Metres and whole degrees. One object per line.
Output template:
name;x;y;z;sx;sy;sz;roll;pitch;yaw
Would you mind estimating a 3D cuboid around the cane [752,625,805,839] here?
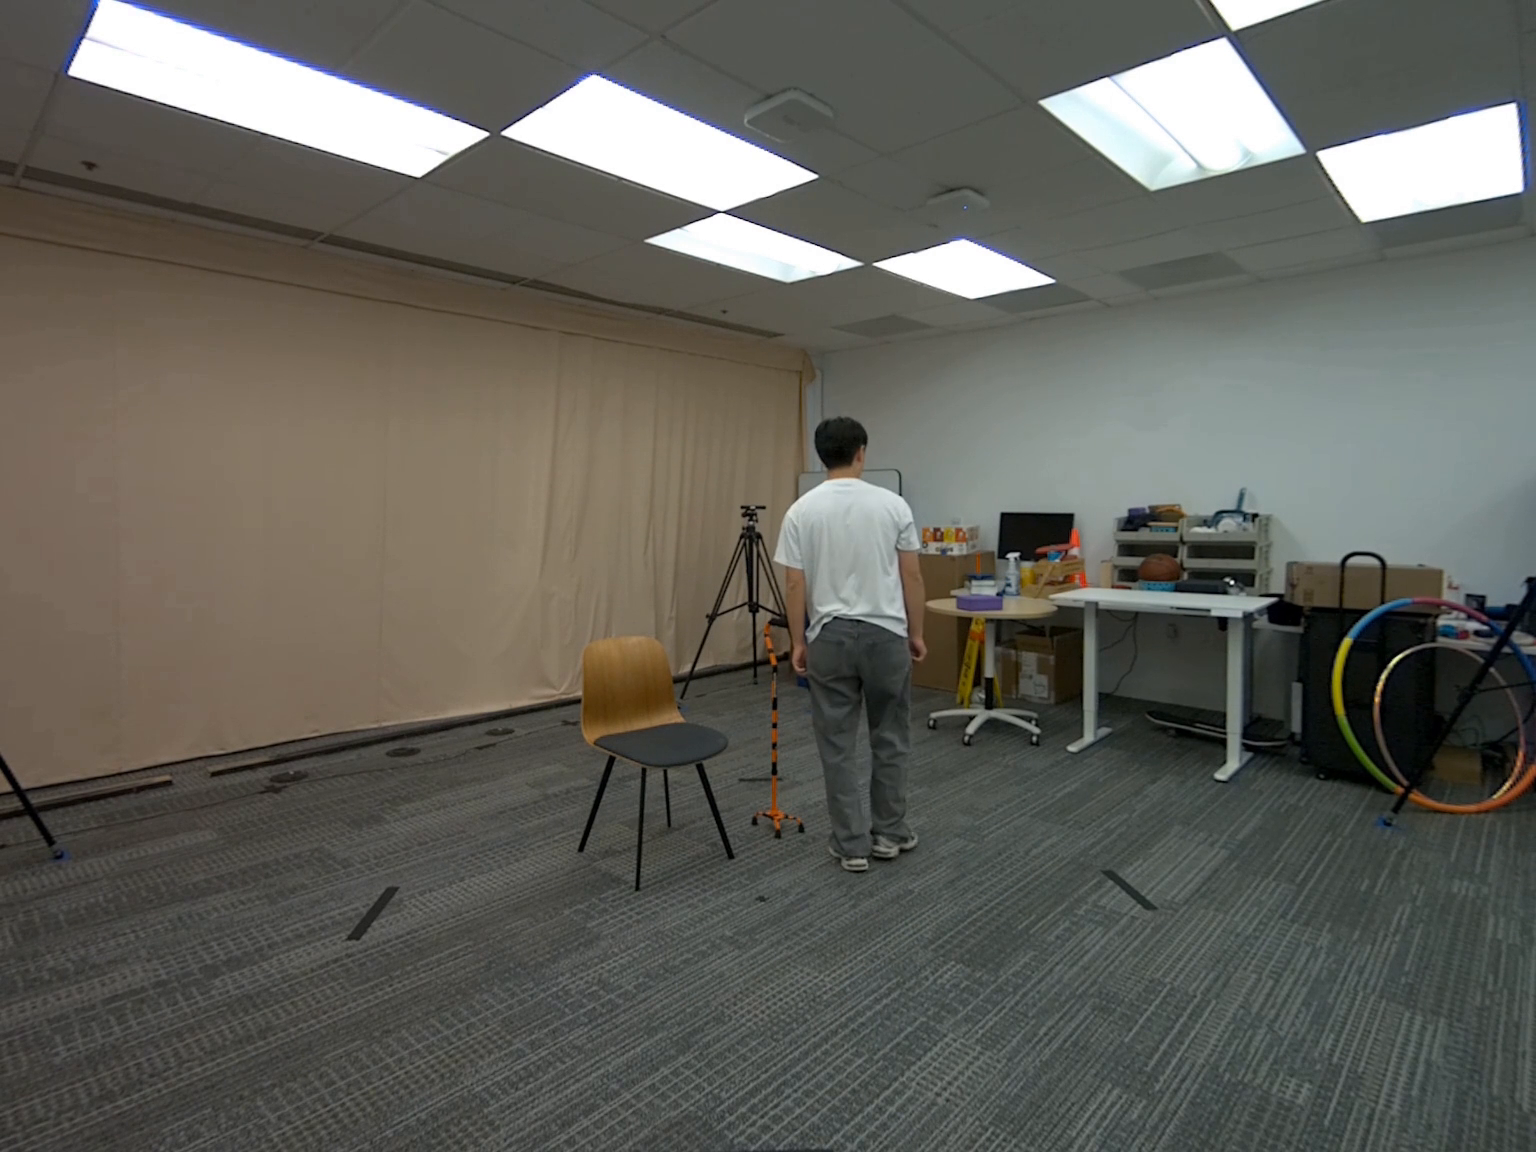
cane;0.046;0.639;3.627;0.147;0.906;0.213;-3;3;-34
